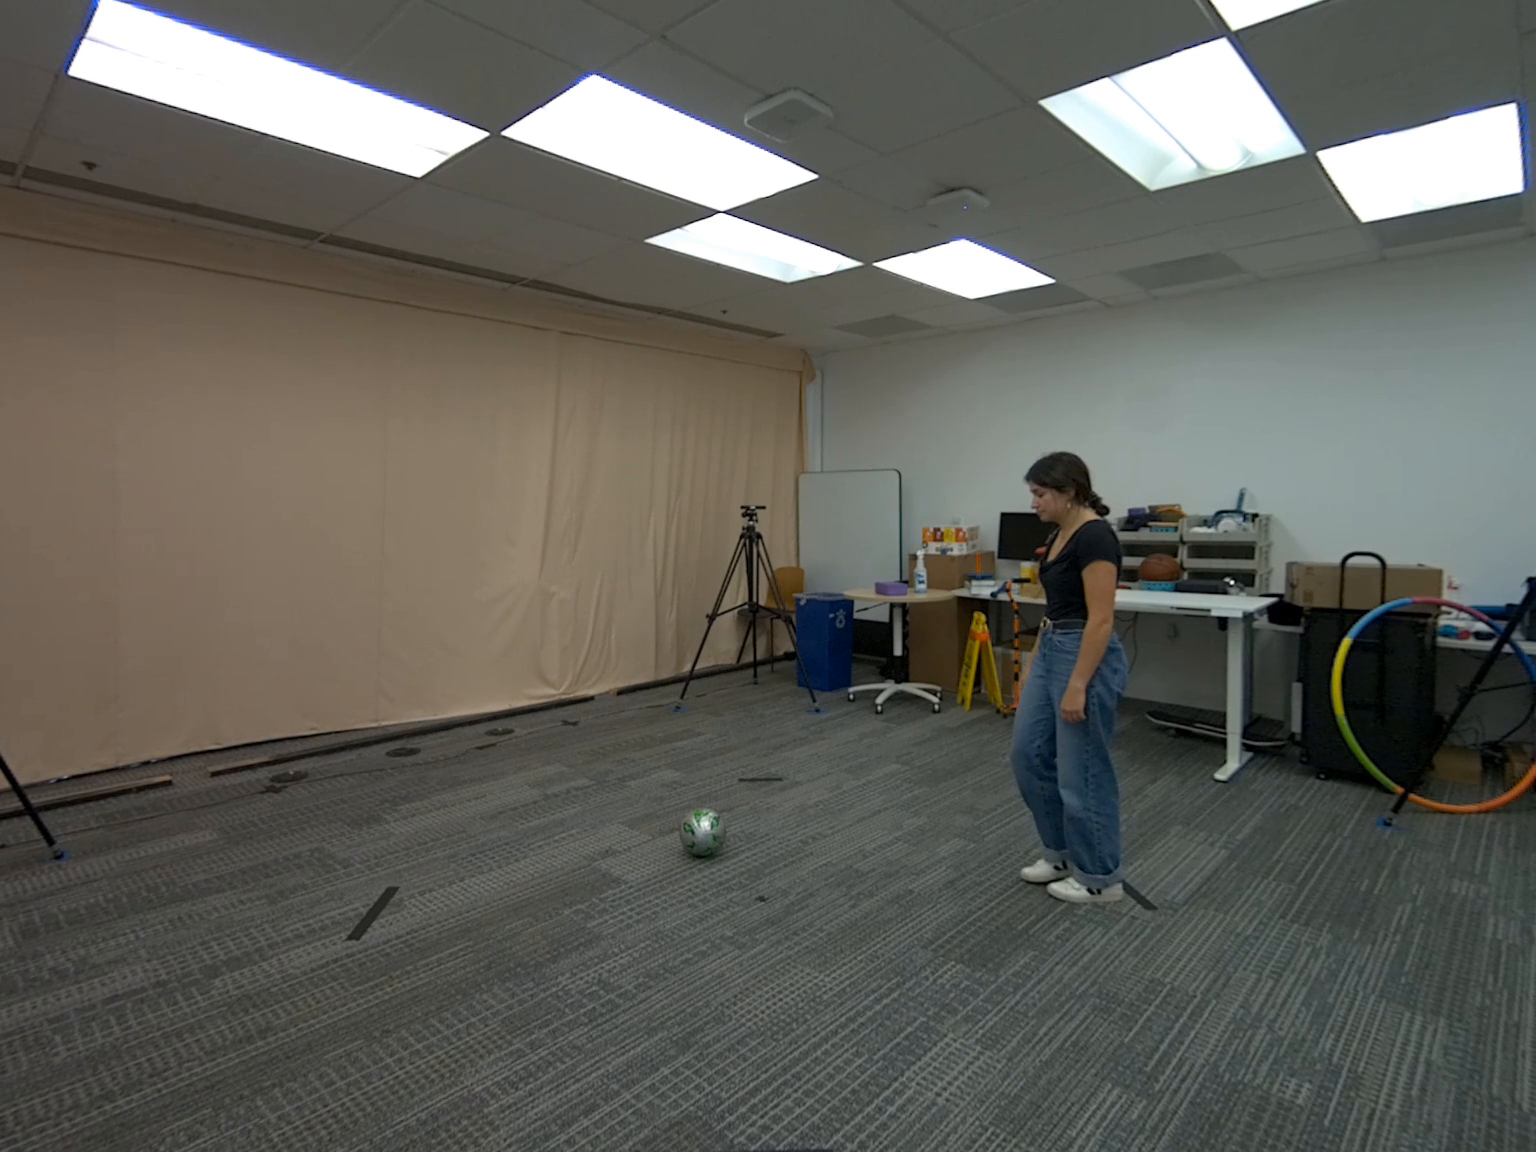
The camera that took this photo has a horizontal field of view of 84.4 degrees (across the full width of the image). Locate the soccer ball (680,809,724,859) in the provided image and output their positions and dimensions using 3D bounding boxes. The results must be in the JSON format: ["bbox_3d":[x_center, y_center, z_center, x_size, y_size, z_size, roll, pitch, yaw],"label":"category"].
[{"bbox_3d":[-0.254,1.023,3.355,0.187,0.187,0.188,0,4,-2],"label":"soccer ball"}]
